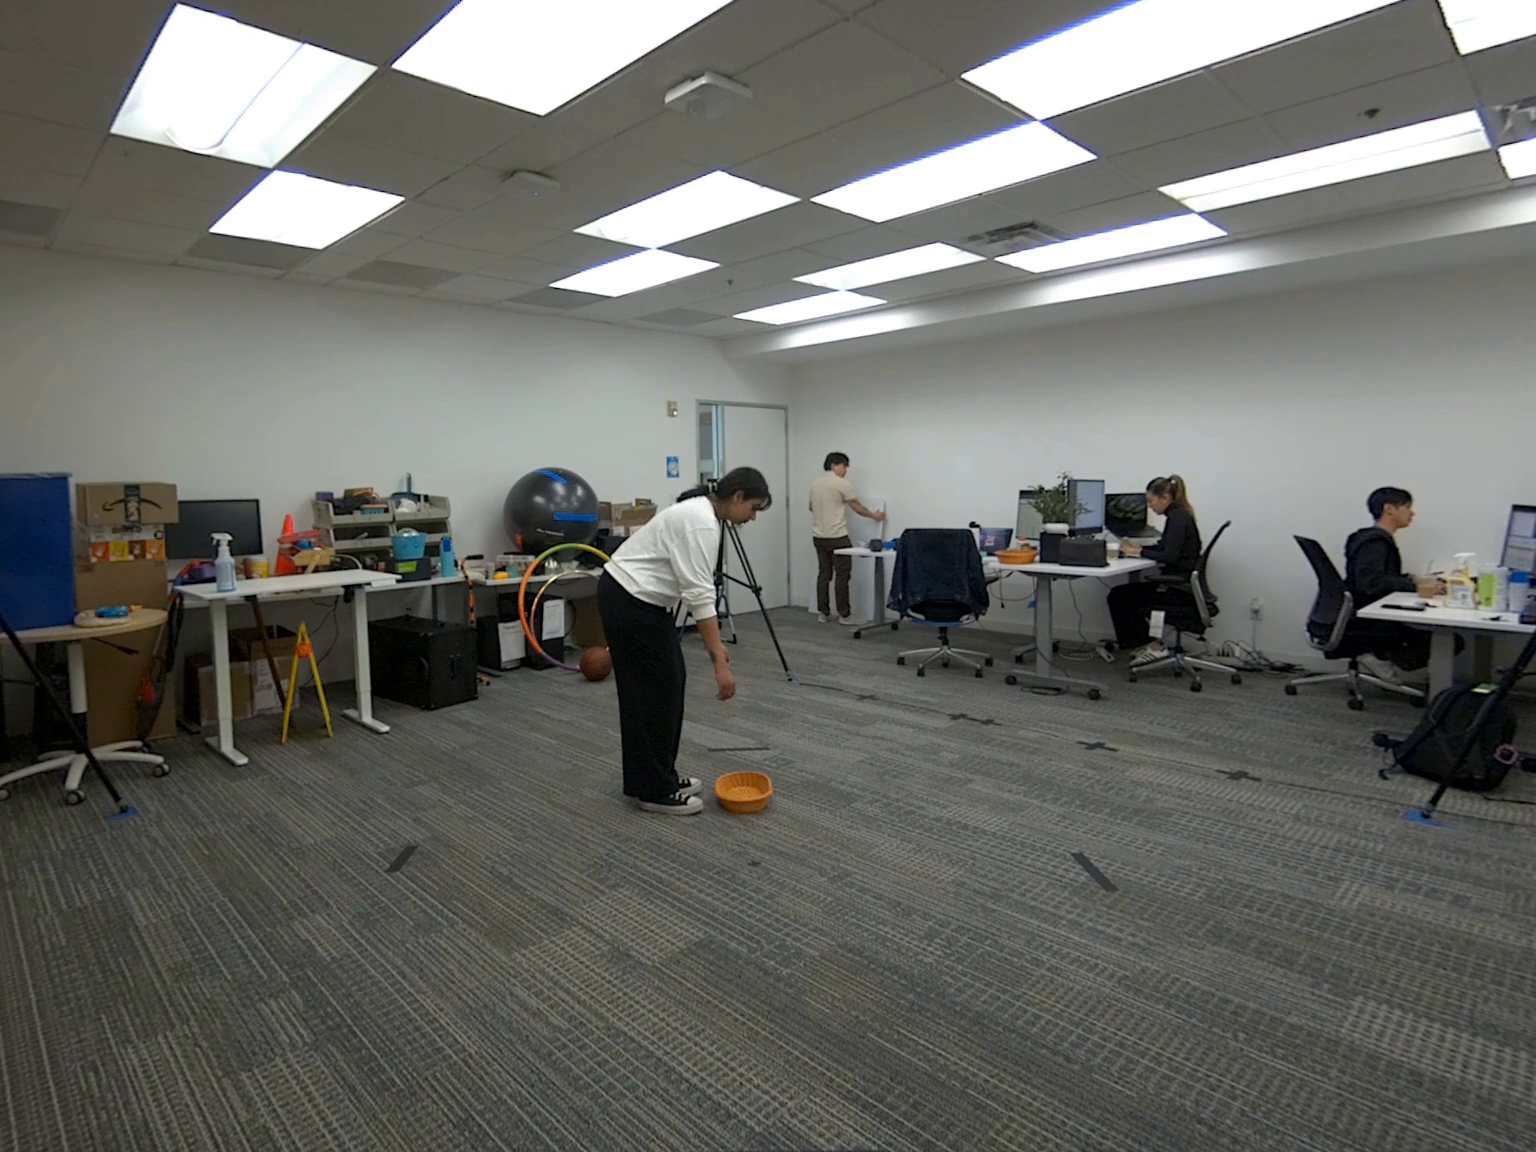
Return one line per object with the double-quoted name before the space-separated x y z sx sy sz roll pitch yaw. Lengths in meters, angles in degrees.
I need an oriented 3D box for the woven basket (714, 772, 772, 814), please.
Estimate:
"woven basket" -0.105 0.935 3.700 0.252 0.073 0.352 -3 7 -1
